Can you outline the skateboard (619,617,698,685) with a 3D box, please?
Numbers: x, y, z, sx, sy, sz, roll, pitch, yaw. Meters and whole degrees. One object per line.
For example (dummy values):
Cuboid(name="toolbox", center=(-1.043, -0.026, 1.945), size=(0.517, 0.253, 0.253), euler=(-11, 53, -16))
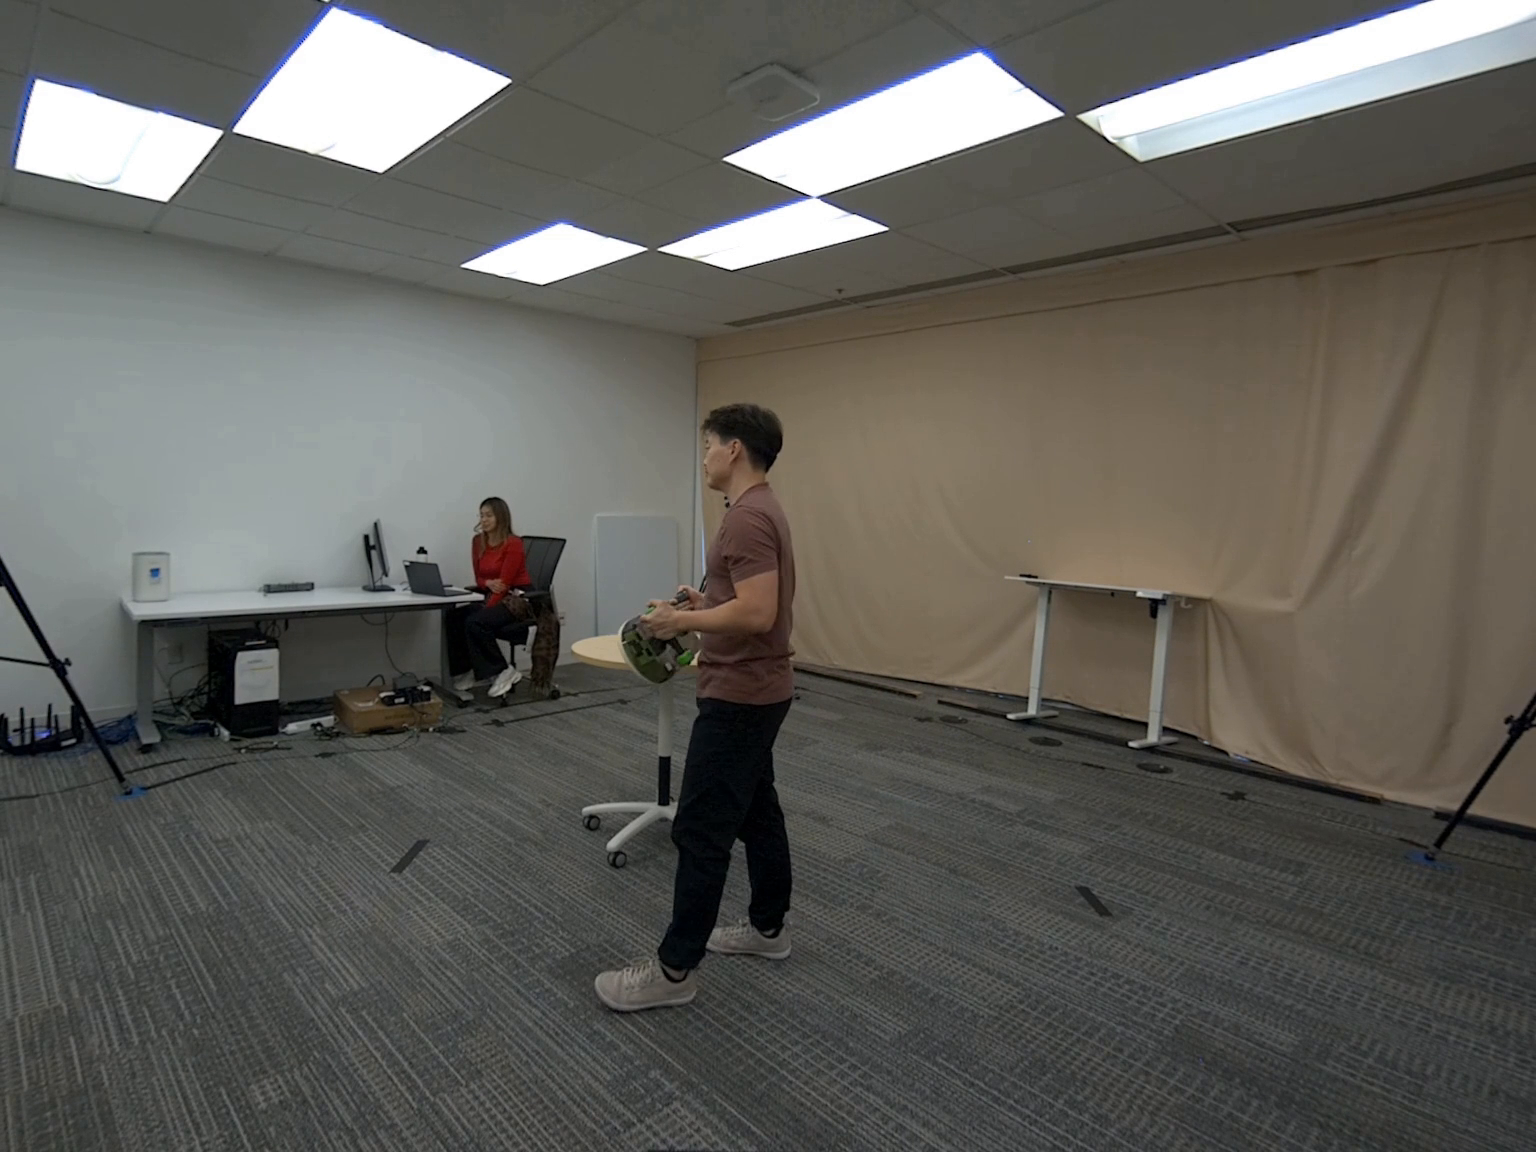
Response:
Cuboid(name="skateboard", center=(-0.285, 0.164, 2.504), size=(0.110, 0.193, 0.784), euler=(-35, 2, 6))
